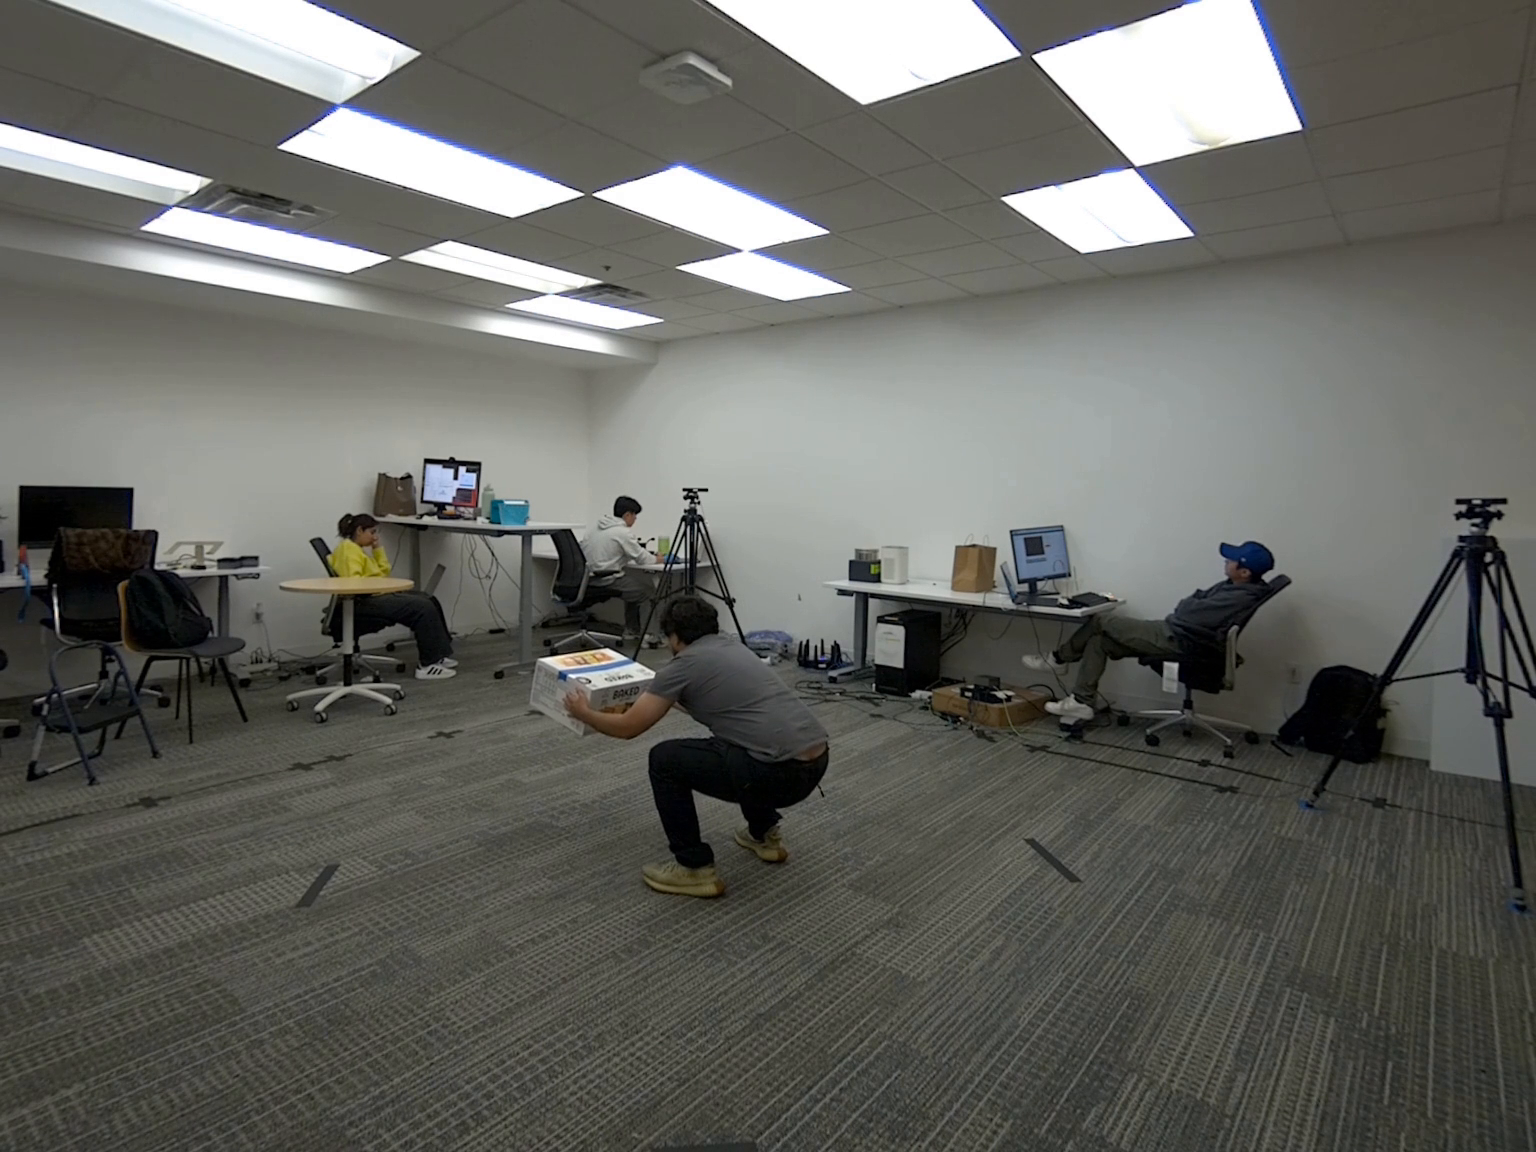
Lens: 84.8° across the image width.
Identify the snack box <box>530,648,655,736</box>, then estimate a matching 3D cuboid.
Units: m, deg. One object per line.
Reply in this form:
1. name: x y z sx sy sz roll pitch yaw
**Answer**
1. snack box: -0.729 0.471 3.546 0.353 0.204 0.393 19 13 35
